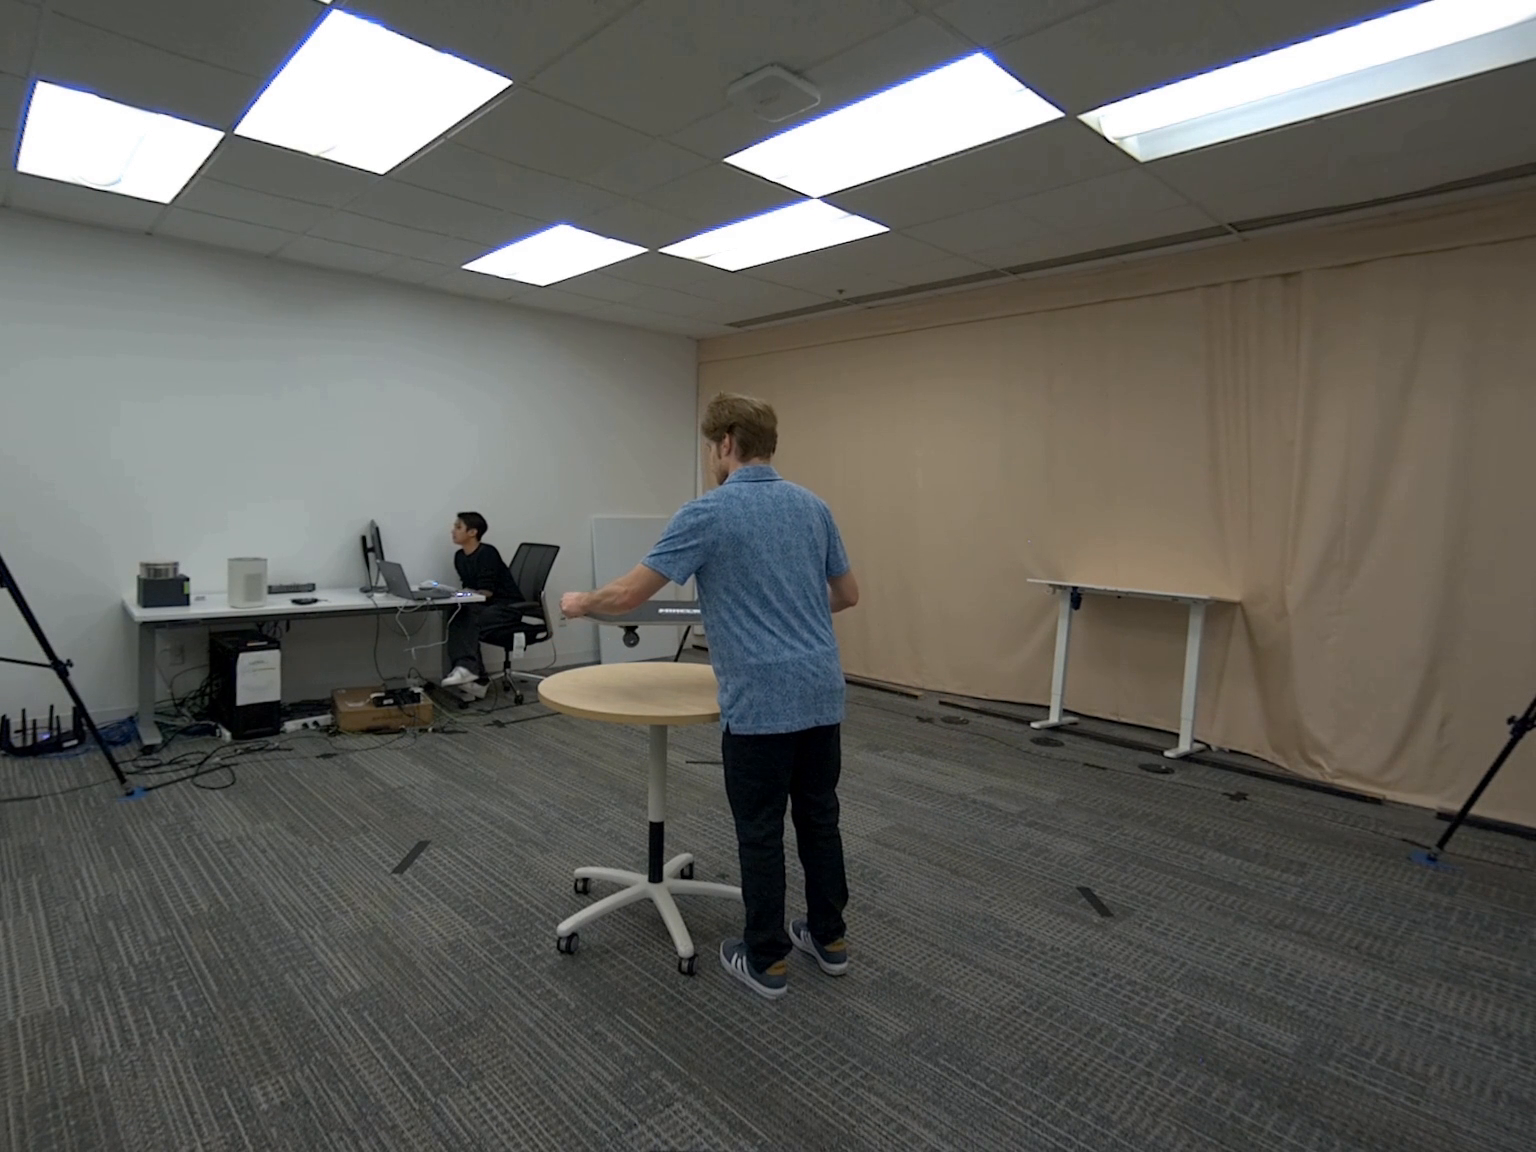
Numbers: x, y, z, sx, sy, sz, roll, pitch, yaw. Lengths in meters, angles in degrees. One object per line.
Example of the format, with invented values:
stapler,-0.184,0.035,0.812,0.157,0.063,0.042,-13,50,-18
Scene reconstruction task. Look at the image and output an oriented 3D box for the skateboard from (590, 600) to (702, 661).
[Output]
skateboard,-0.254,0.163,2.702,0.776,0.109,0.197,0,15,-15
